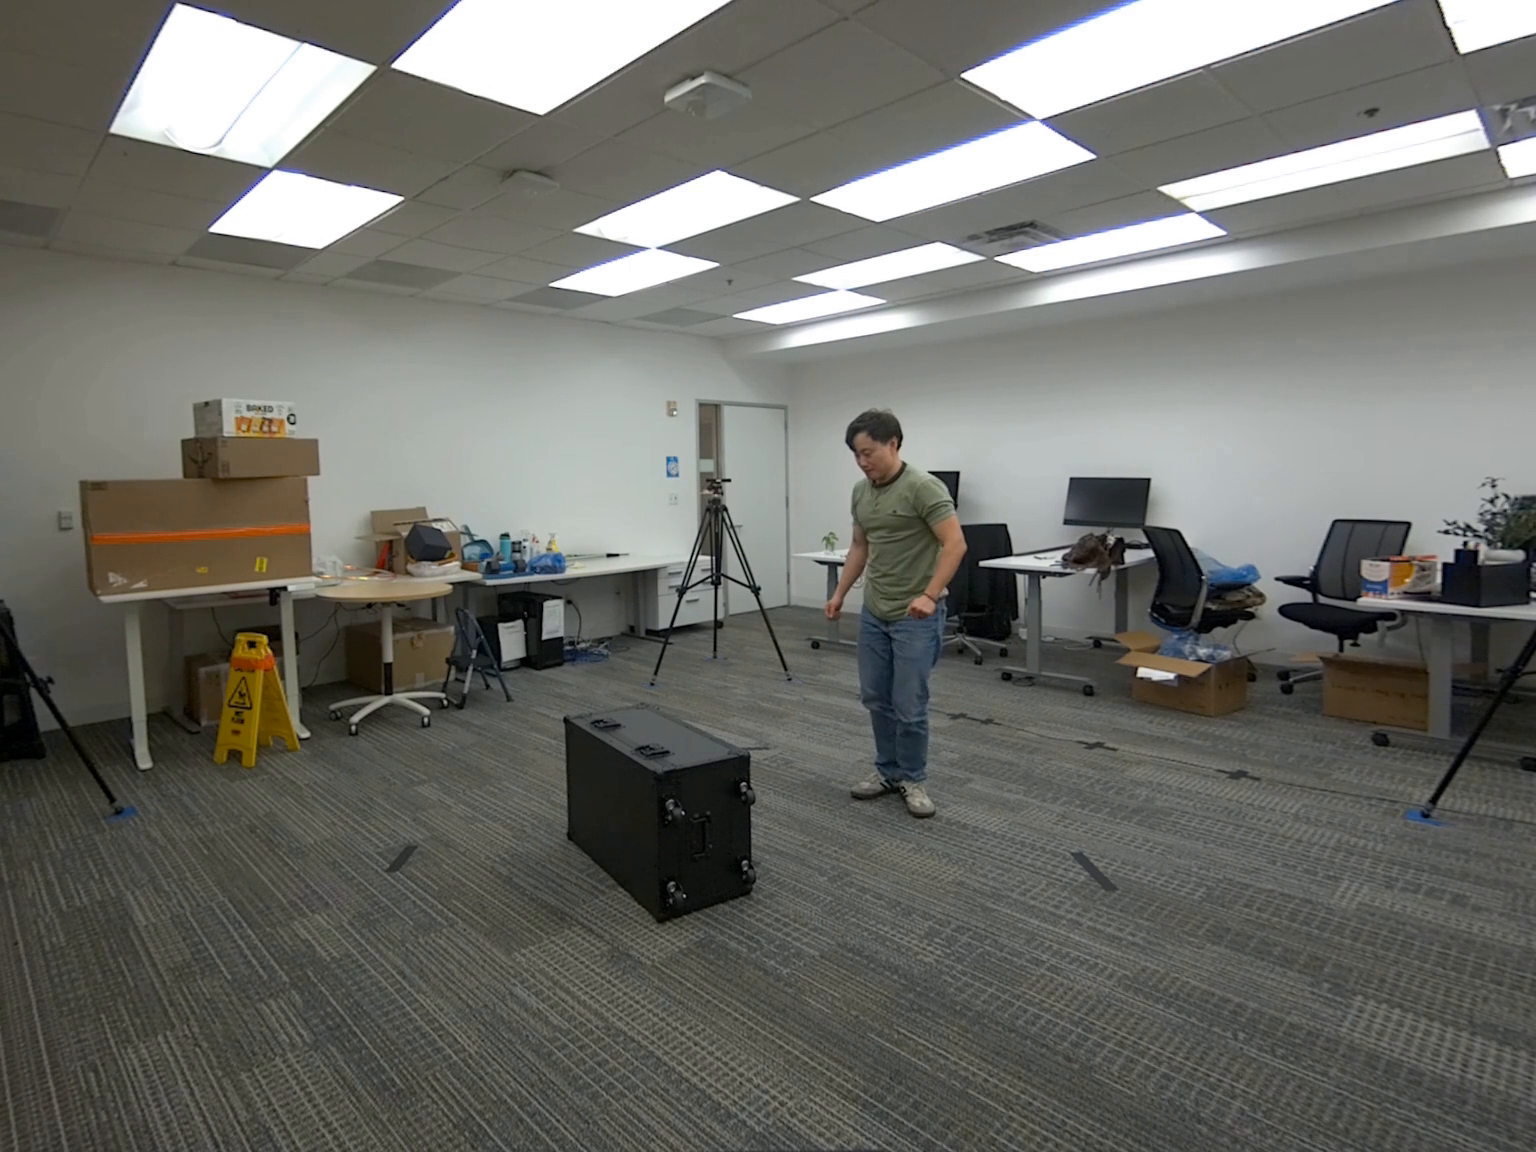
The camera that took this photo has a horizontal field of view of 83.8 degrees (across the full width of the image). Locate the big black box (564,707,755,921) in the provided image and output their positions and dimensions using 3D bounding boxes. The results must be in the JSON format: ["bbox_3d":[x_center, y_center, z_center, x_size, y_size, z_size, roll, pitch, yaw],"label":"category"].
[{"bbox_3d":[-0.392,0.812,3.077,0.387,0.519,0.886,-4,6,-33],"label":"big black box"}]
